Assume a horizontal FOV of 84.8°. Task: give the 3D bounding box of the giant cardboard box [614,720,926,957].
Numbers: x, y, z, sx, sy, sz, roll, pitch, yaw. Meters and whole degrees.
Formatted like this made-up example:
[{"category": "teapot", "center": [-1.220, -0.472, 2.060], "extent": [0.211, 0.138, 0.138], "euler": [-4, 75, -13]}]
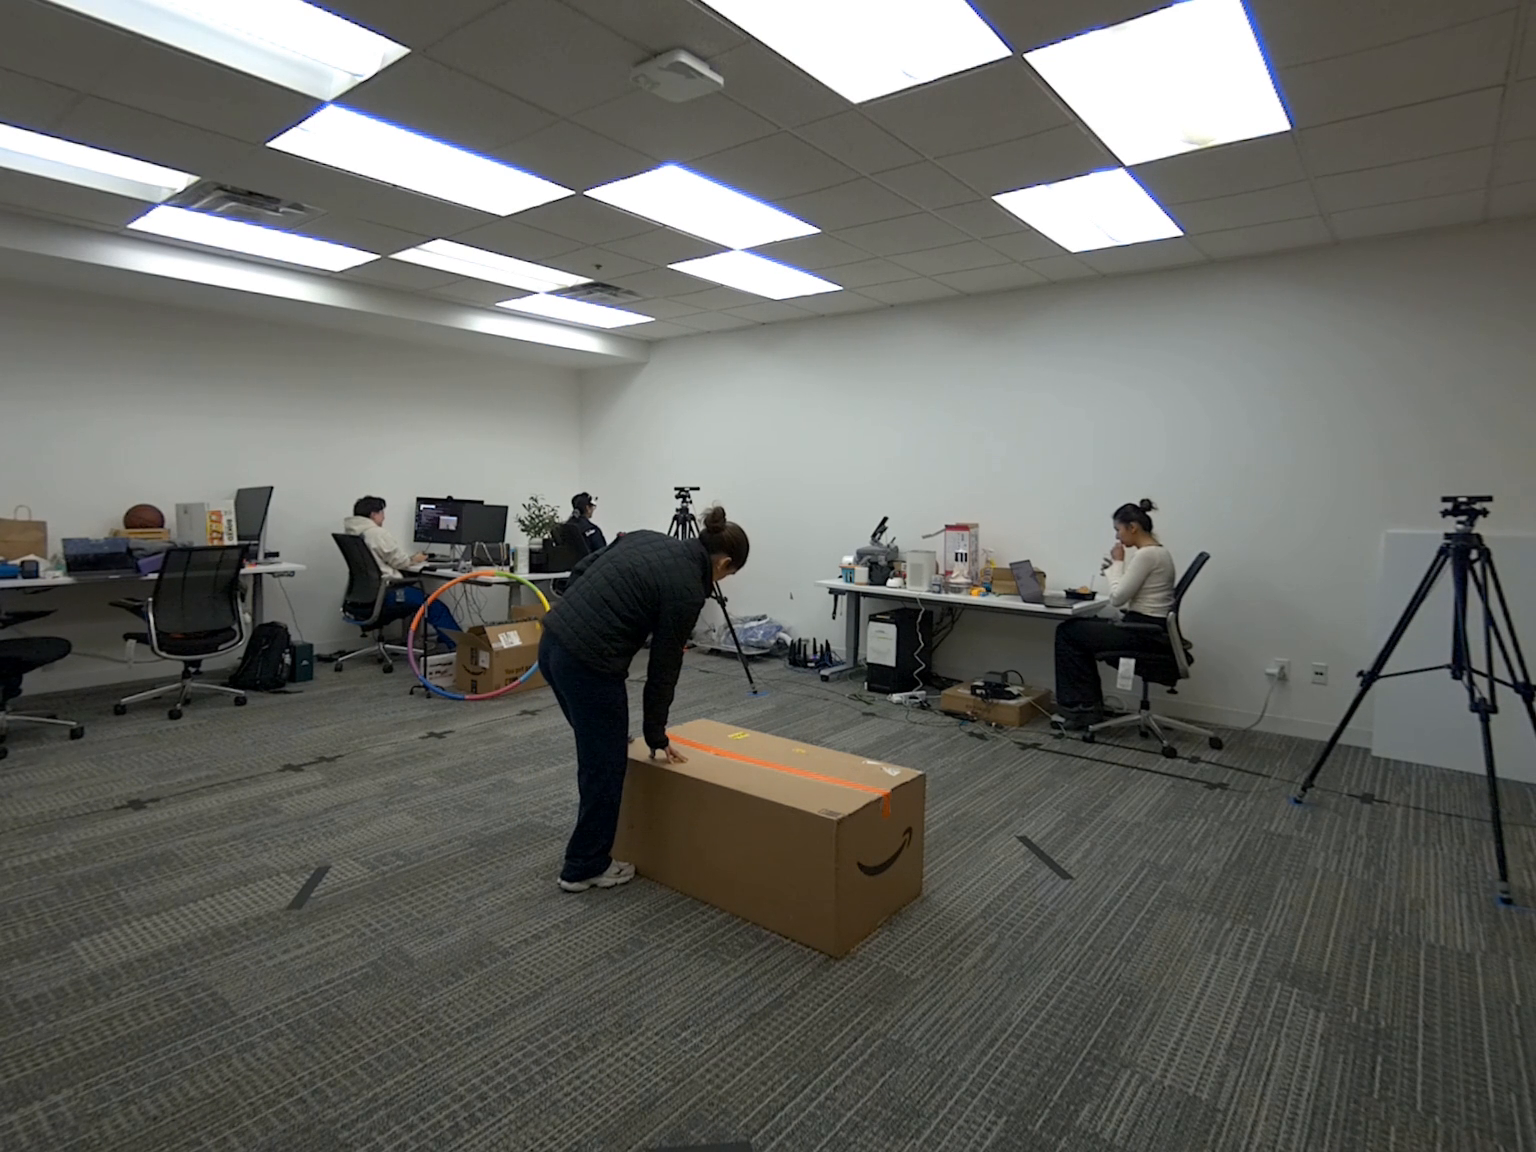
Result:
[{"category": "giant cardboard box", "center": [-0.022, 0.867, 3.059], "extent": [1.062, 0.445, 0.567], "euler": [6, 8, 39]}]
